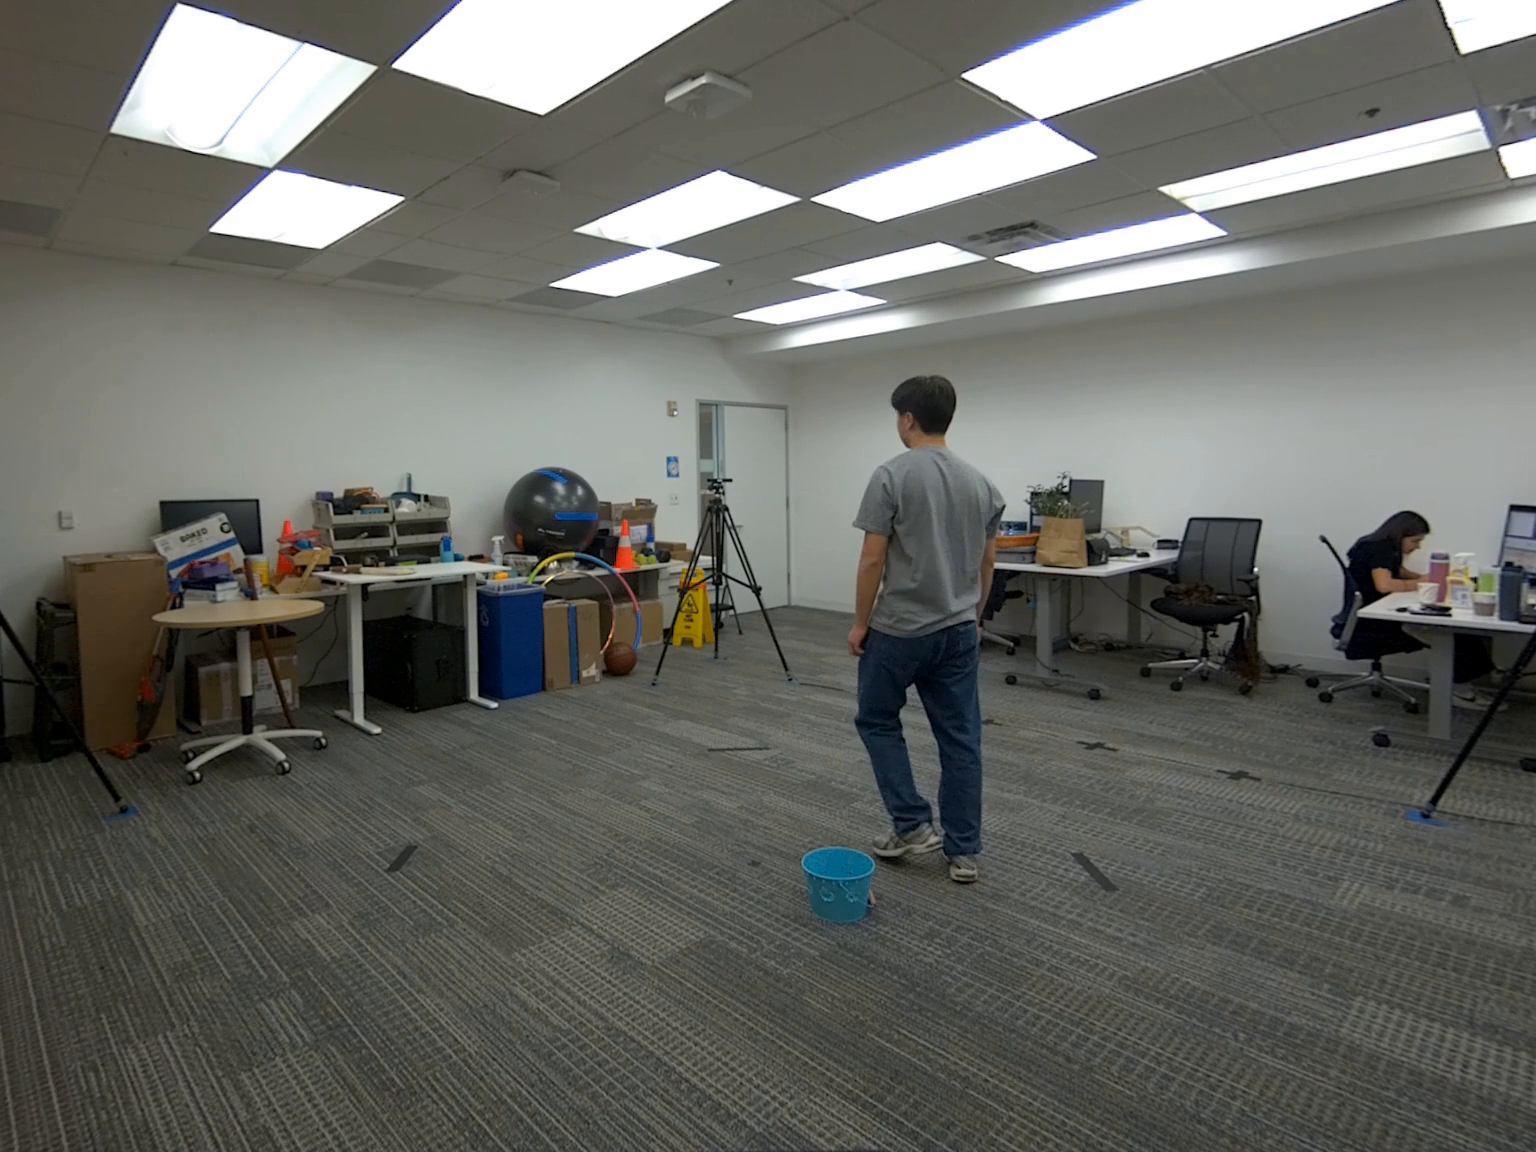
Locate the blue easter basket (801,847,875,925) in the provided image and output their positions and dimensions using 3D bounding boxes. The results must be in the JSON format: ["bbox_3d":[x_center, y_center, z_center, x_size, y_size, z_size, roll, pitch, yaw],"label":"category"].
[{"bbox_3d":[0.236,1.003,2.759,0.243,0.155,0.245,-2,6,-2],"label":"blue easter basket"}]
